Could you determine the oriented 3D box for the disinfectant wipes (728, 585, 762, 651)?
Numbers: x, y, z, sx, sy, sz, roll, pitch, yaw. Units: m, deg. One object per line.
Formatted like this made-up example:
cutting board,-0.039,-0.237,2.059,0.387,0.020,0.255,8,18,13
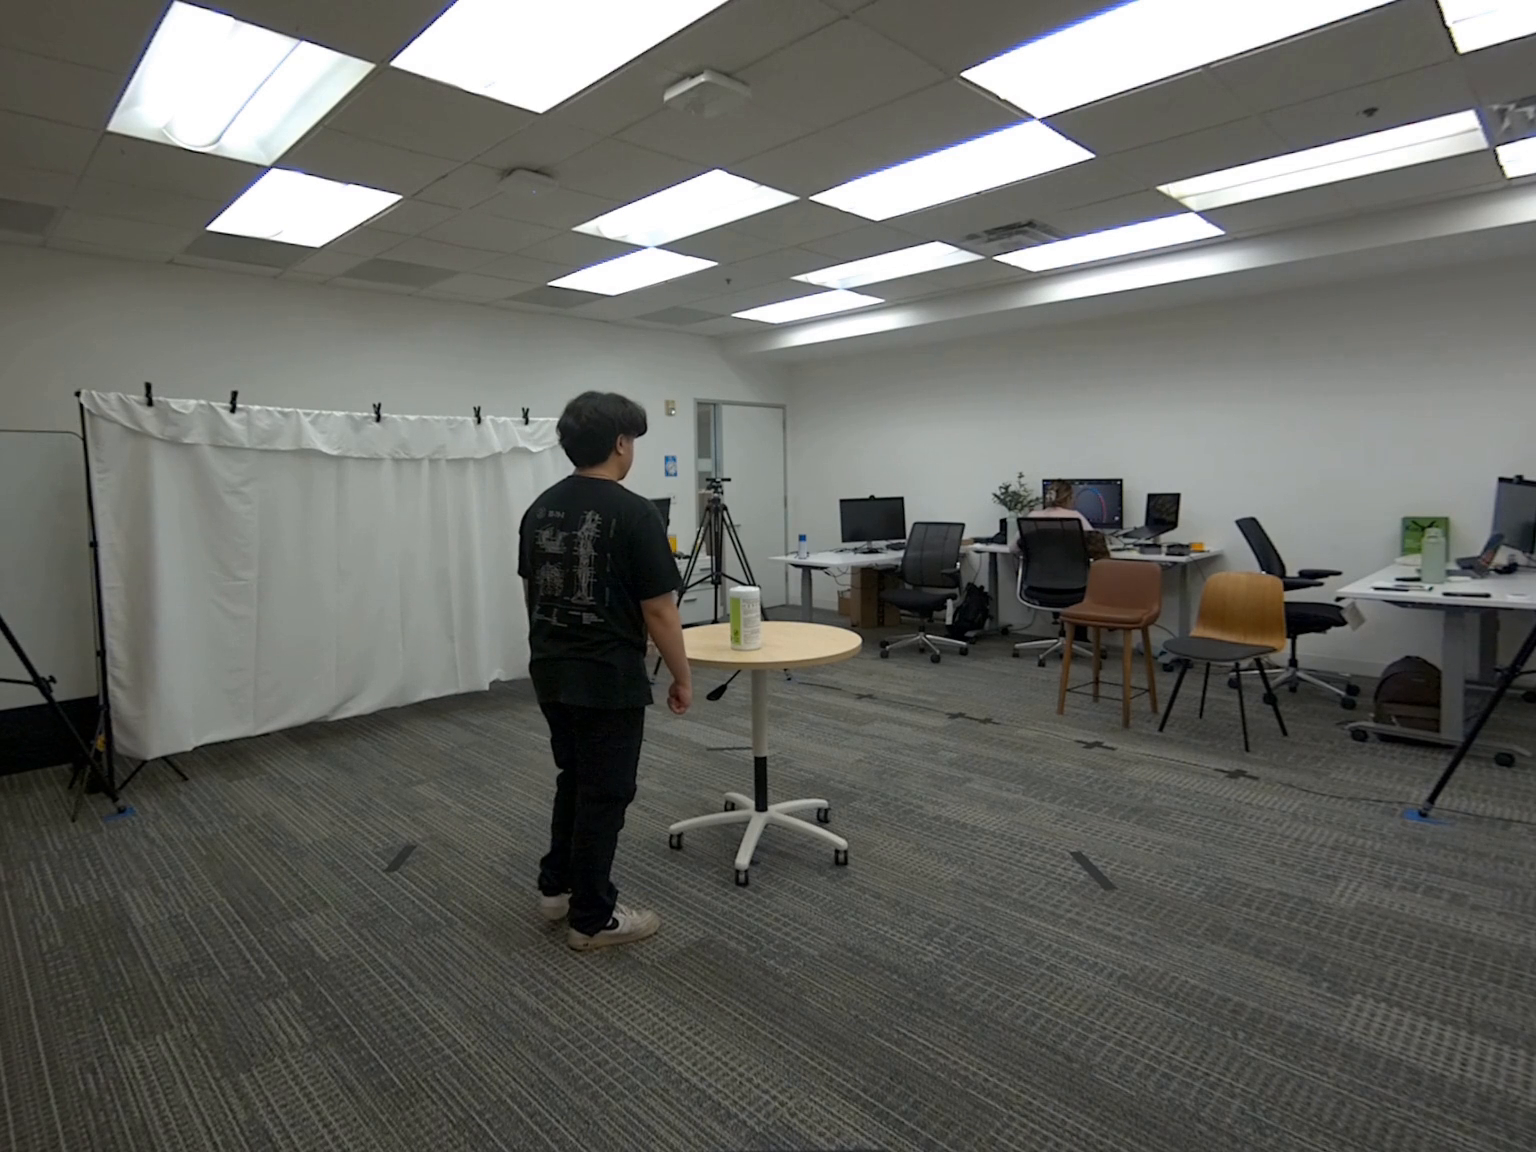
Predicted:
disinfectant wipes,-0.076,0.150,3.041,0.118,0.216,0.118,-3,5,-1
